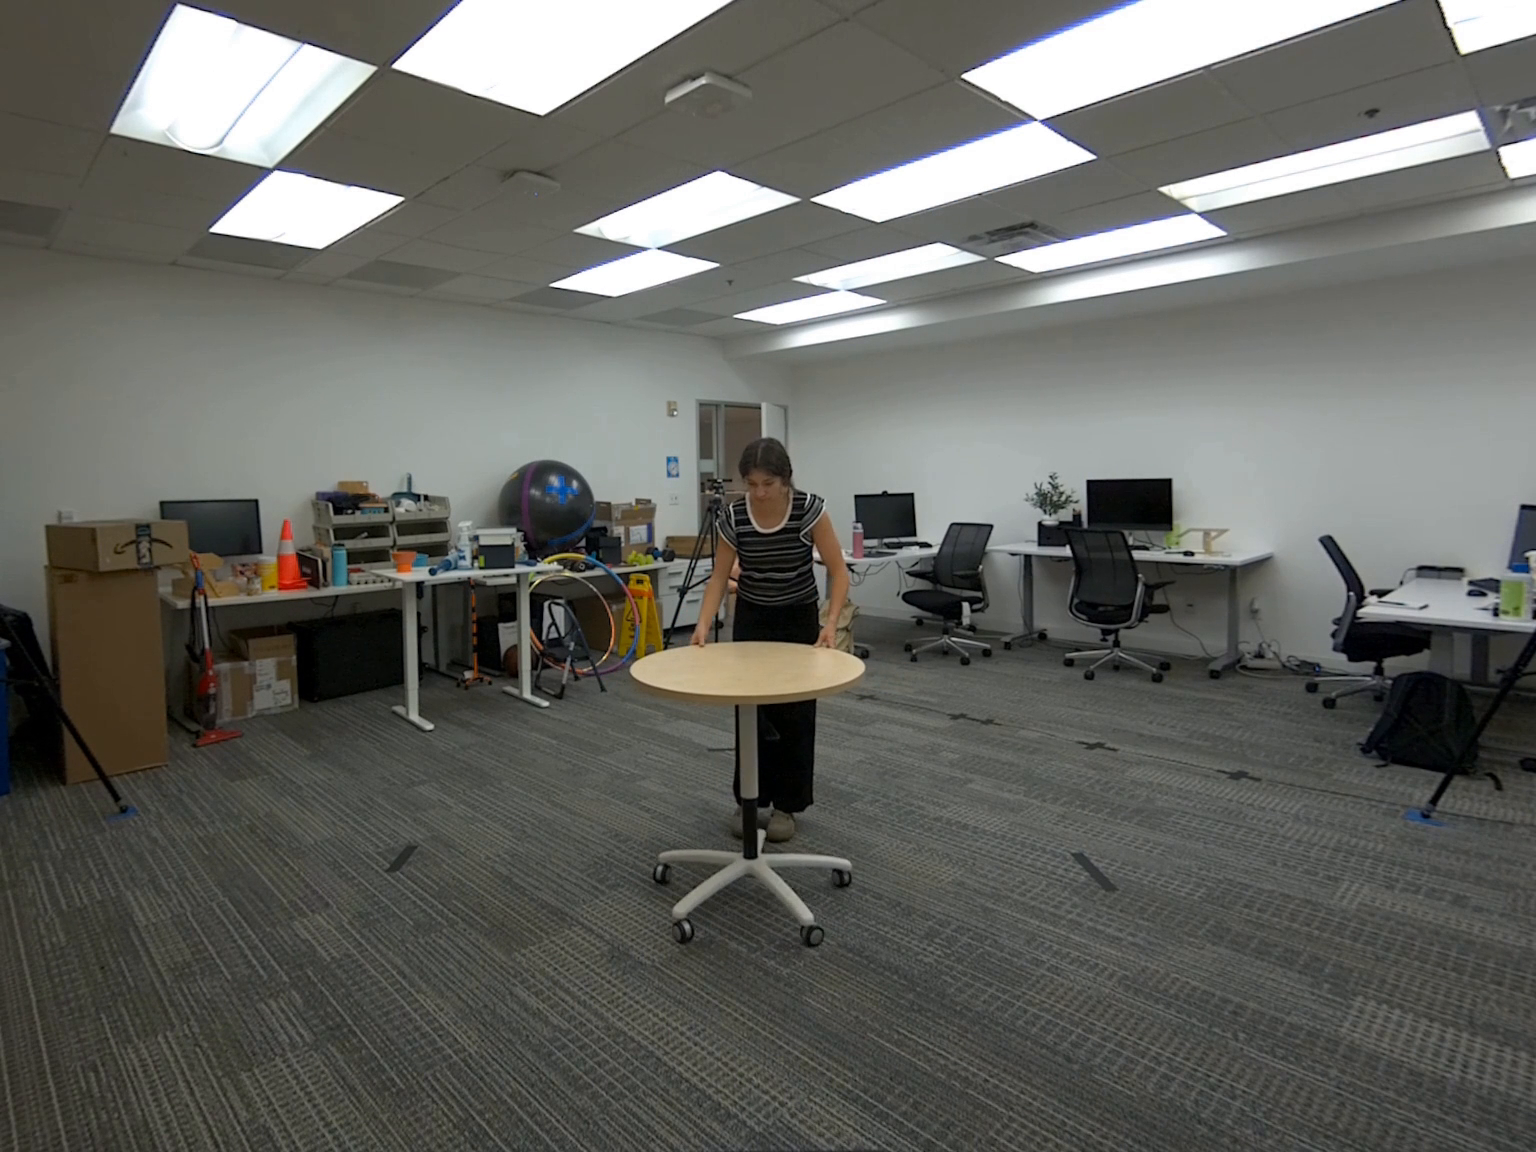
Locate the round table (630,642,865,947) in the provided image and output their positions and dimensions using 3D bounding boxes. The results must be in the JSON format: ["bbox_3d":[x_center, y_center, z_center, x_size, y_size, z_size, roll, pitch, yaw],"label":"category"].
[{"bbox_3d":[-0.078,0.683,2.835,0.784,0.783,0.789,-1,5,-2],"label":"round table"}]
